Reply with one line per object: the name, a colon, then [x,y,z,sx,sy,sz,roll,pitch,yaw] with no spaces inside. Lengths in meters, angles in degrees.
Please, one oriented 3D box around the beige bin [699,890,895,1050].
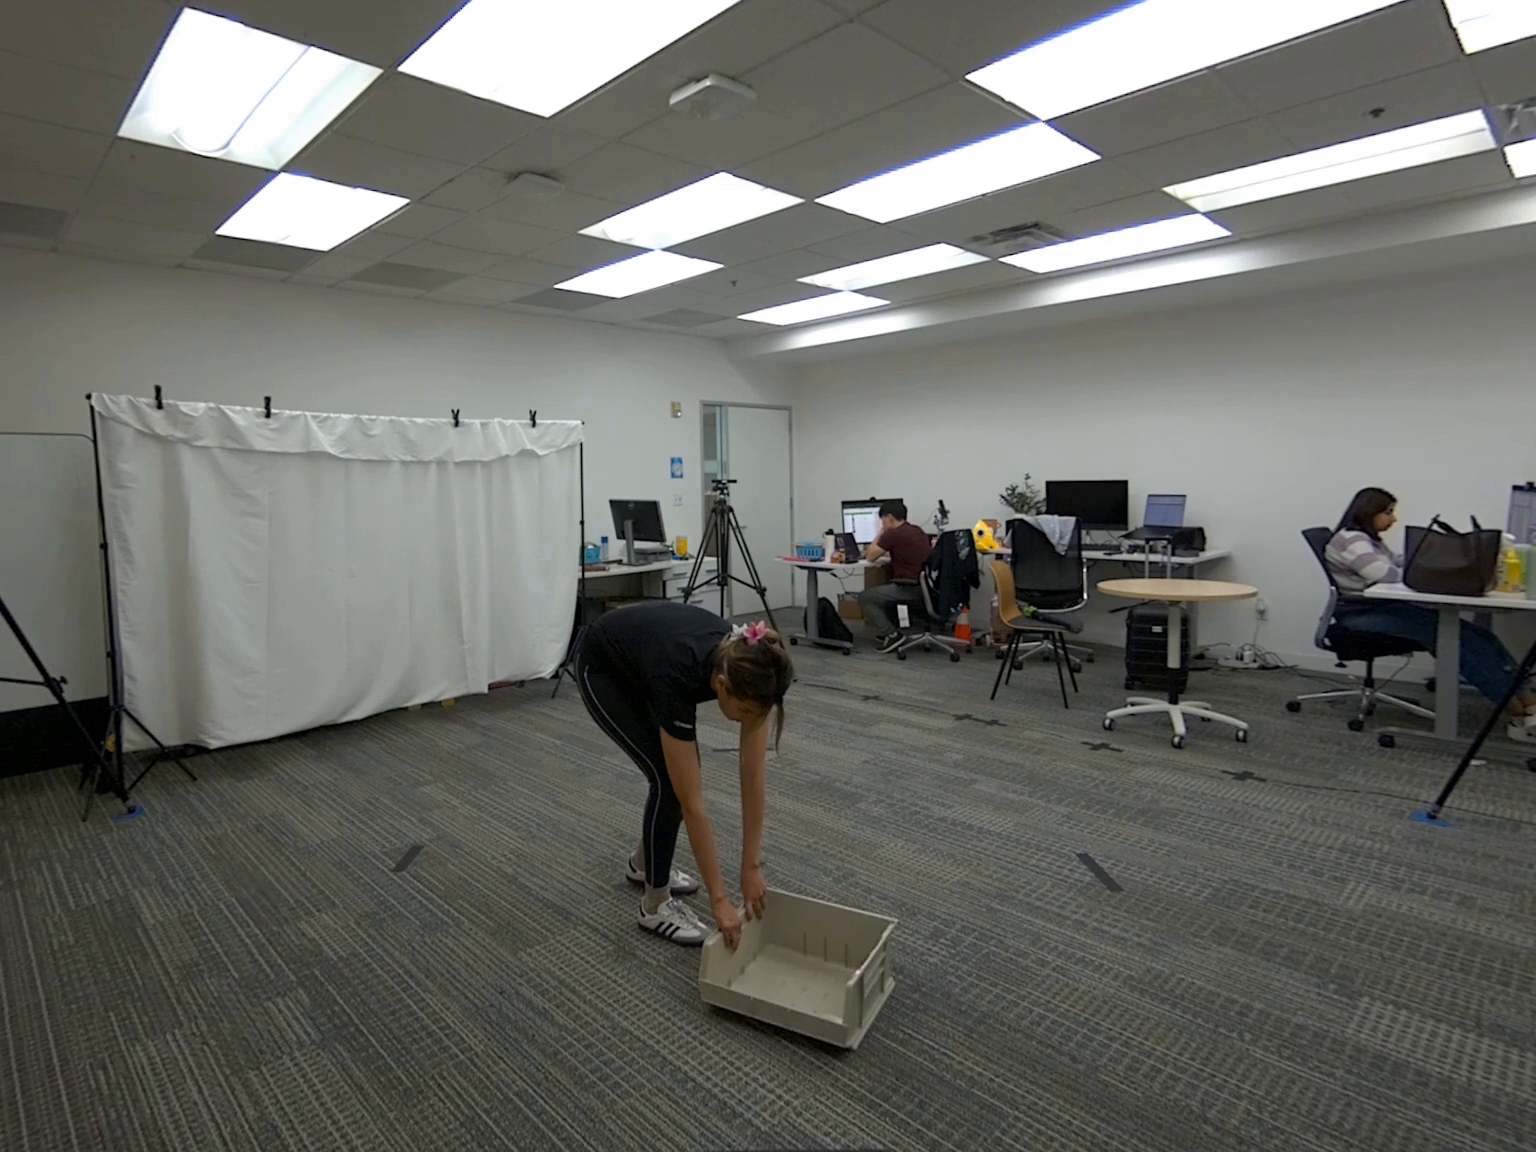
beige bin: [0.089,1.048,2.301,0.433,0.188,0.369,2,6,29]
